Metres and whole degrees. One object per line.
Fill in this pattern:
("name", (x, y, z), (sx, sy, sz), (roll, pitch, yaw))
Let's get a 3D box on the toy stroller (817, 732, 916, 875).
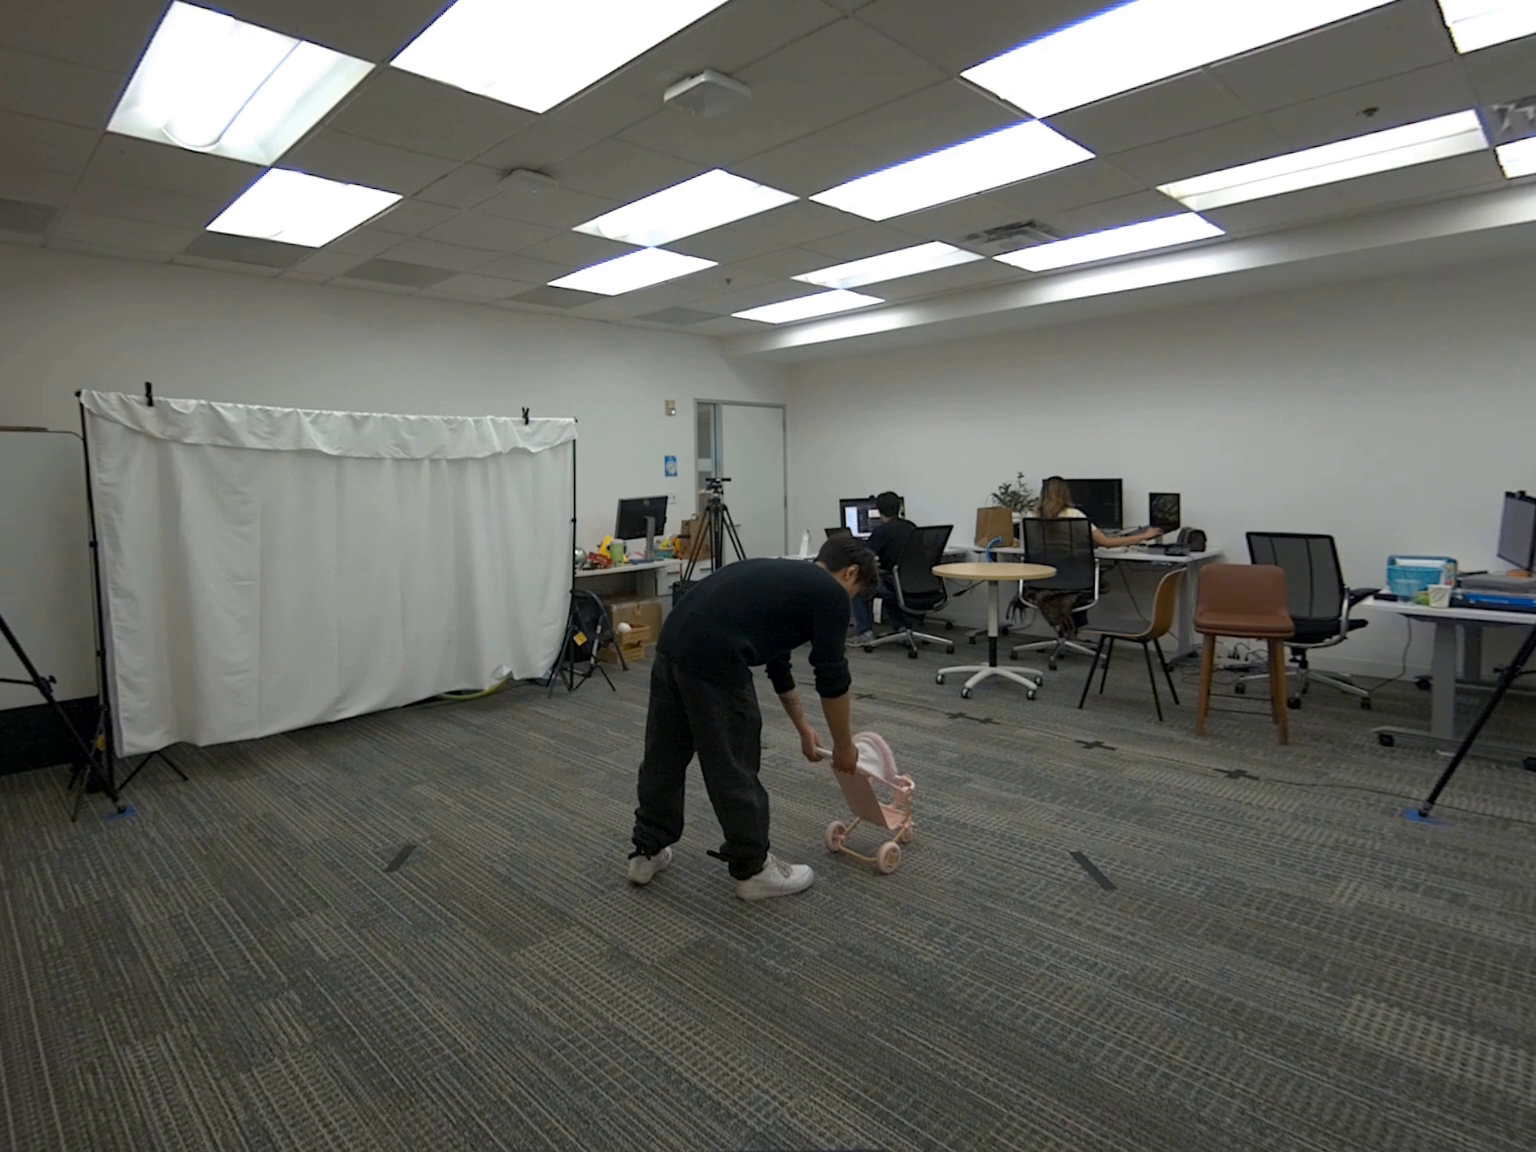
("toy stroller", (0.386, 0.807, 3.127), (0.336, 0.527, 0.290), (-22, 16, -34))
